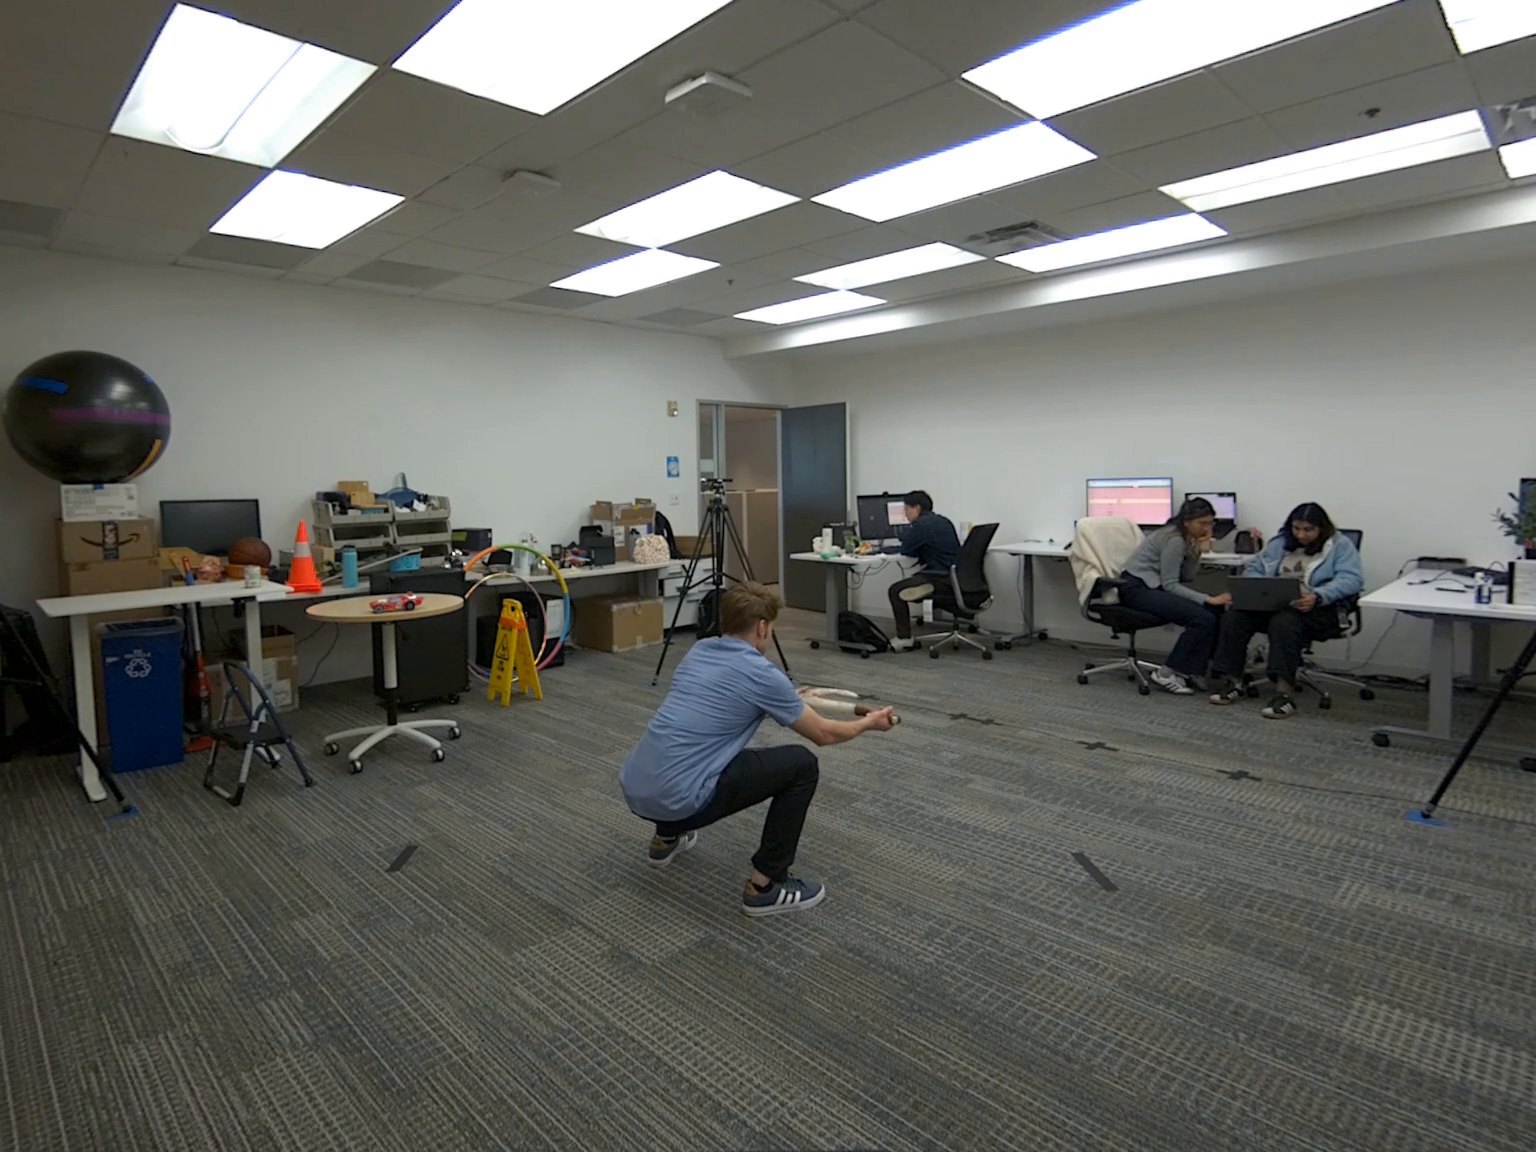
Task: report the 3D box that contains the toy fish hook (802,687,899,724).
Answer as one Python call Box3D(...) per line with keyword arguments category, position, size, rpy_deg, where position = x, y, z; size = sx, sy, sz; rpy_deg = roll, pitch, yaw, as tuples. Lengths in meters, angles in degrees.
Box3D(category="toy fish hook", position=(0.328, 0.489, 3.337), size=(0.220, 0.048, 0.523), rpy_deg=(-15, 16, -42))
